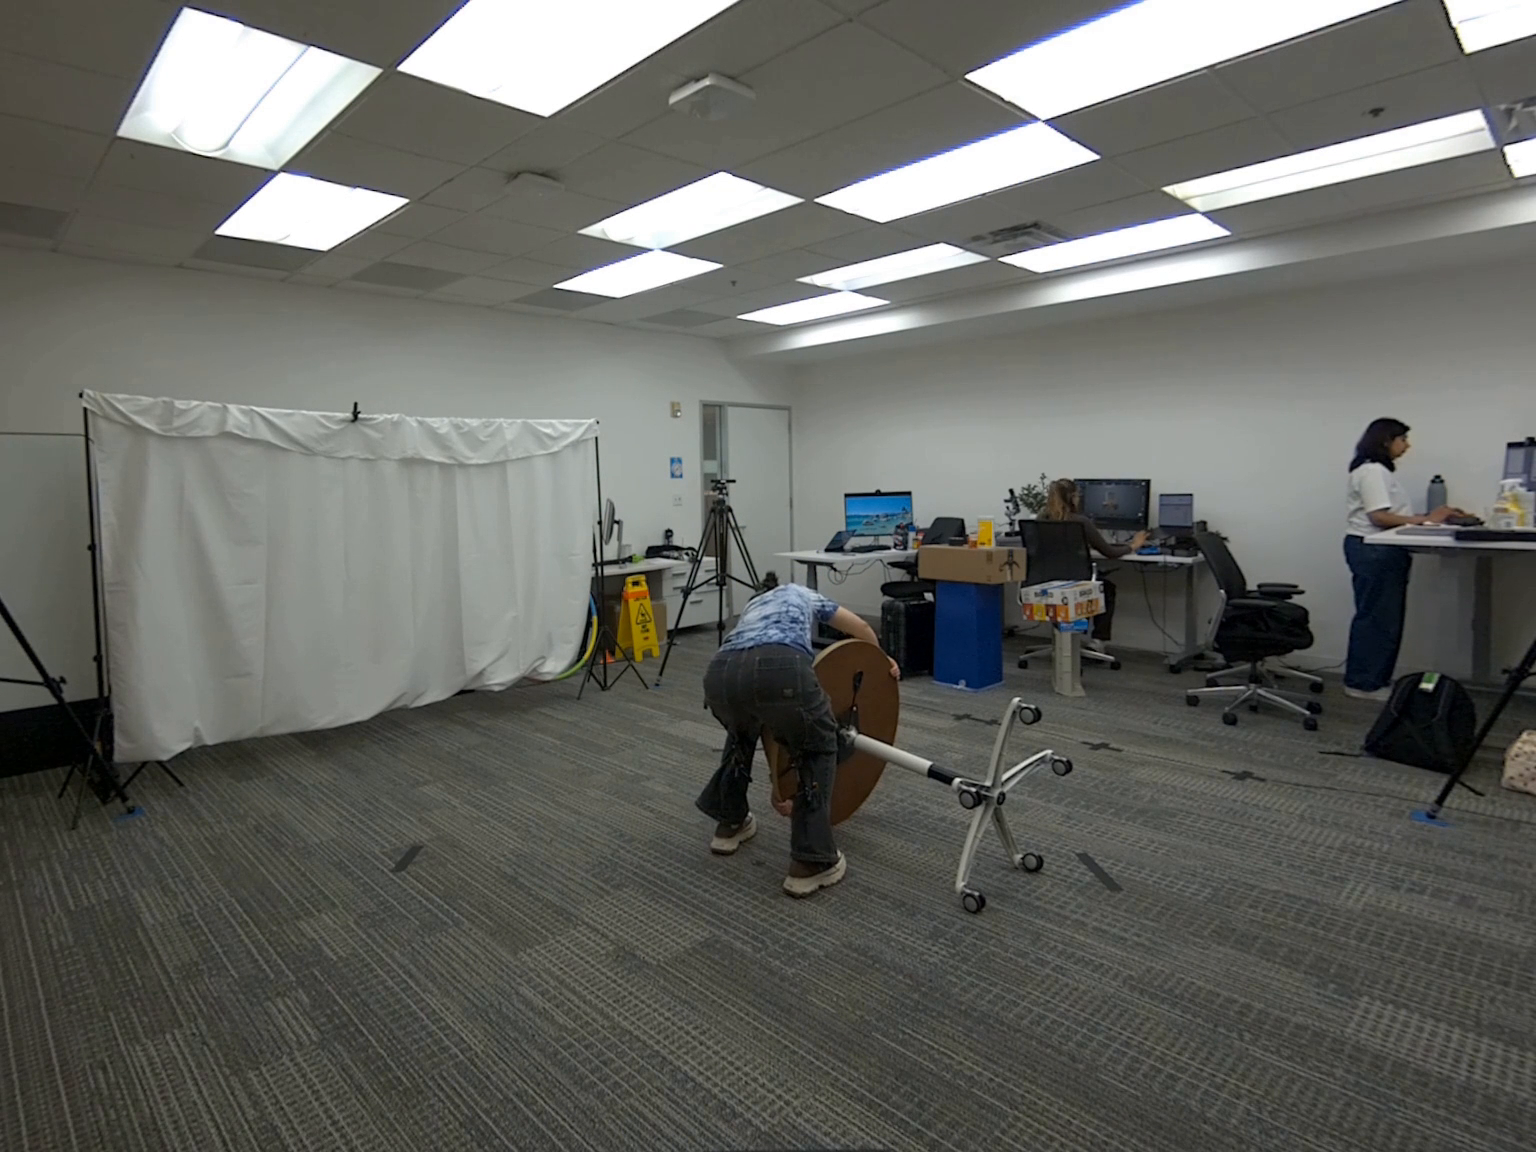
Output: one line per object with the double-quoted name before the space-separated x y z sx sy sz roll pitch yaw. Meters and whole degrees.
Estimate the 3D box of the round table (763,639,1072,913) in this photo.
"round table" 0.561 0.693 3.117 0.744 0.758 0.821 -6 13 -45
